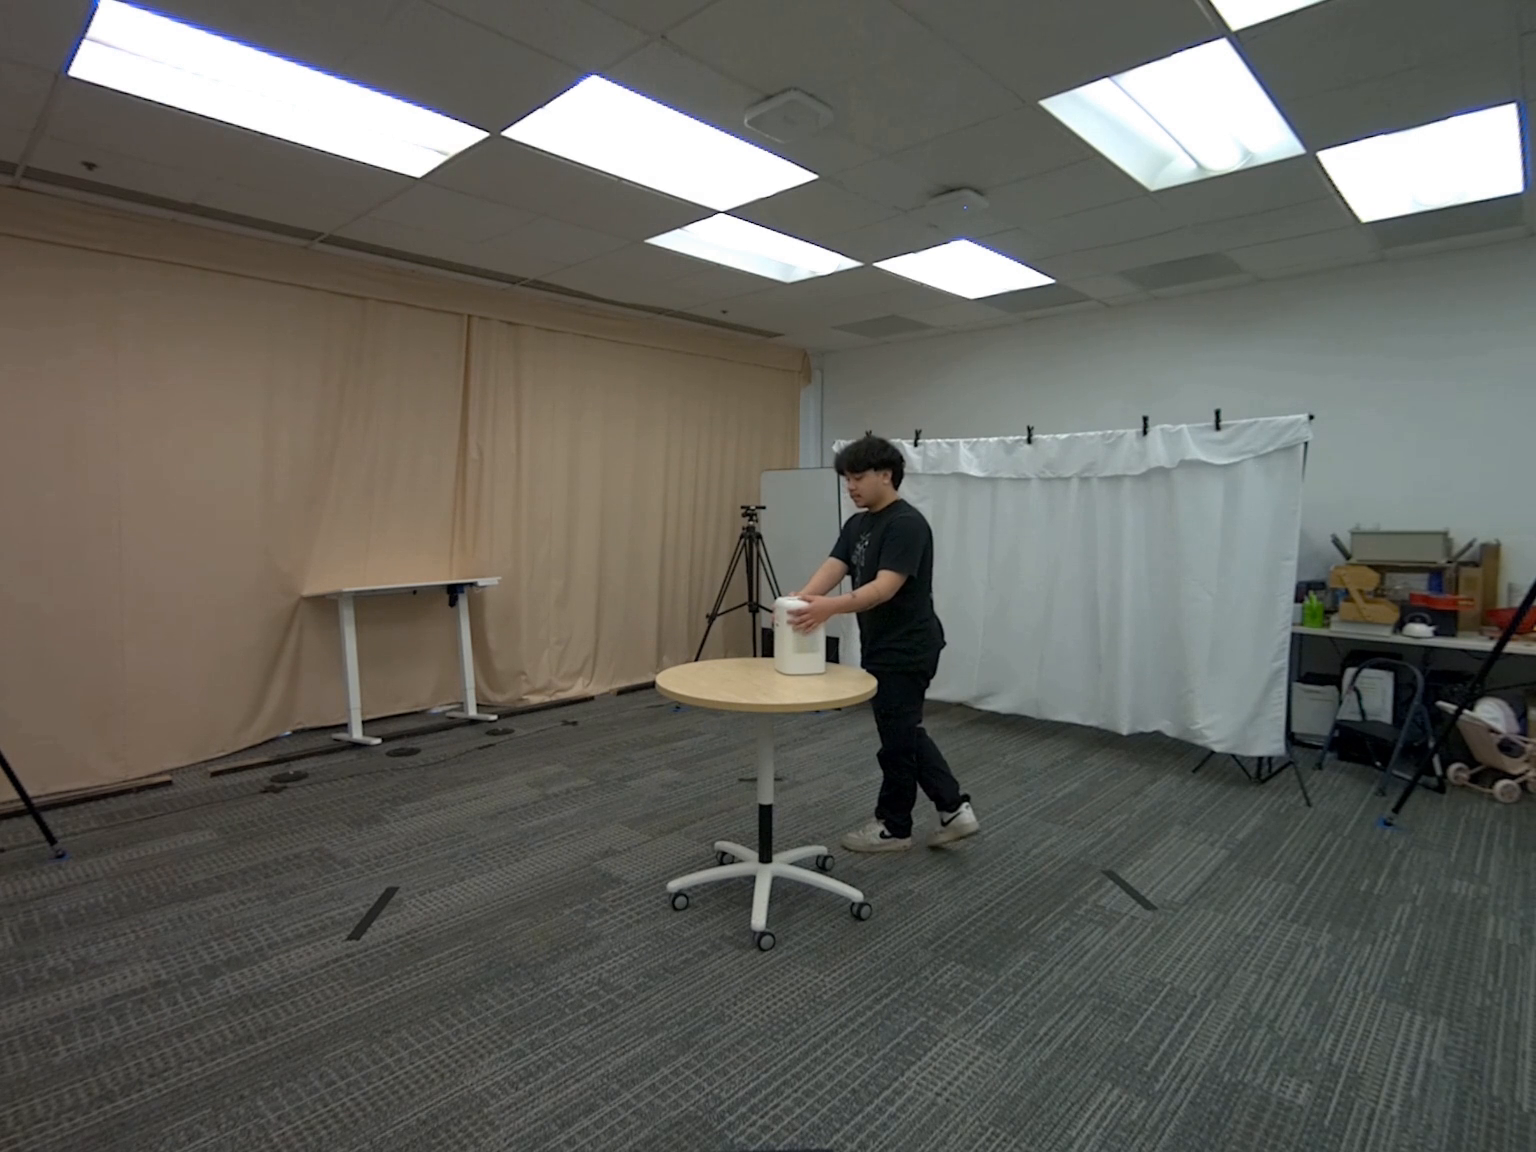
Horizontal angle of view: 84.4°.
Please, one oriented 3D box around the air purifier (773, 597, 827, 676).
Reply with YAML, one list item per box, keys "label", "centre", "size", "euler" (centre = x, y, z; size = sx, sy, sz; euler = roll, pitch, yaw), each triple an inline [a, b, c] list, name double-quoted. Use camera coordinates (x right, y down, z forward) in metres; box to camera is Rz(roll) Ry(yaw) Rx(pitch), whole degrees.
- label: "air purifier"
  centre: [0.114, 0.216, 3.052]
  size: [0.170, 0.265, 0.173]
  euler: [2, 3, -11]
